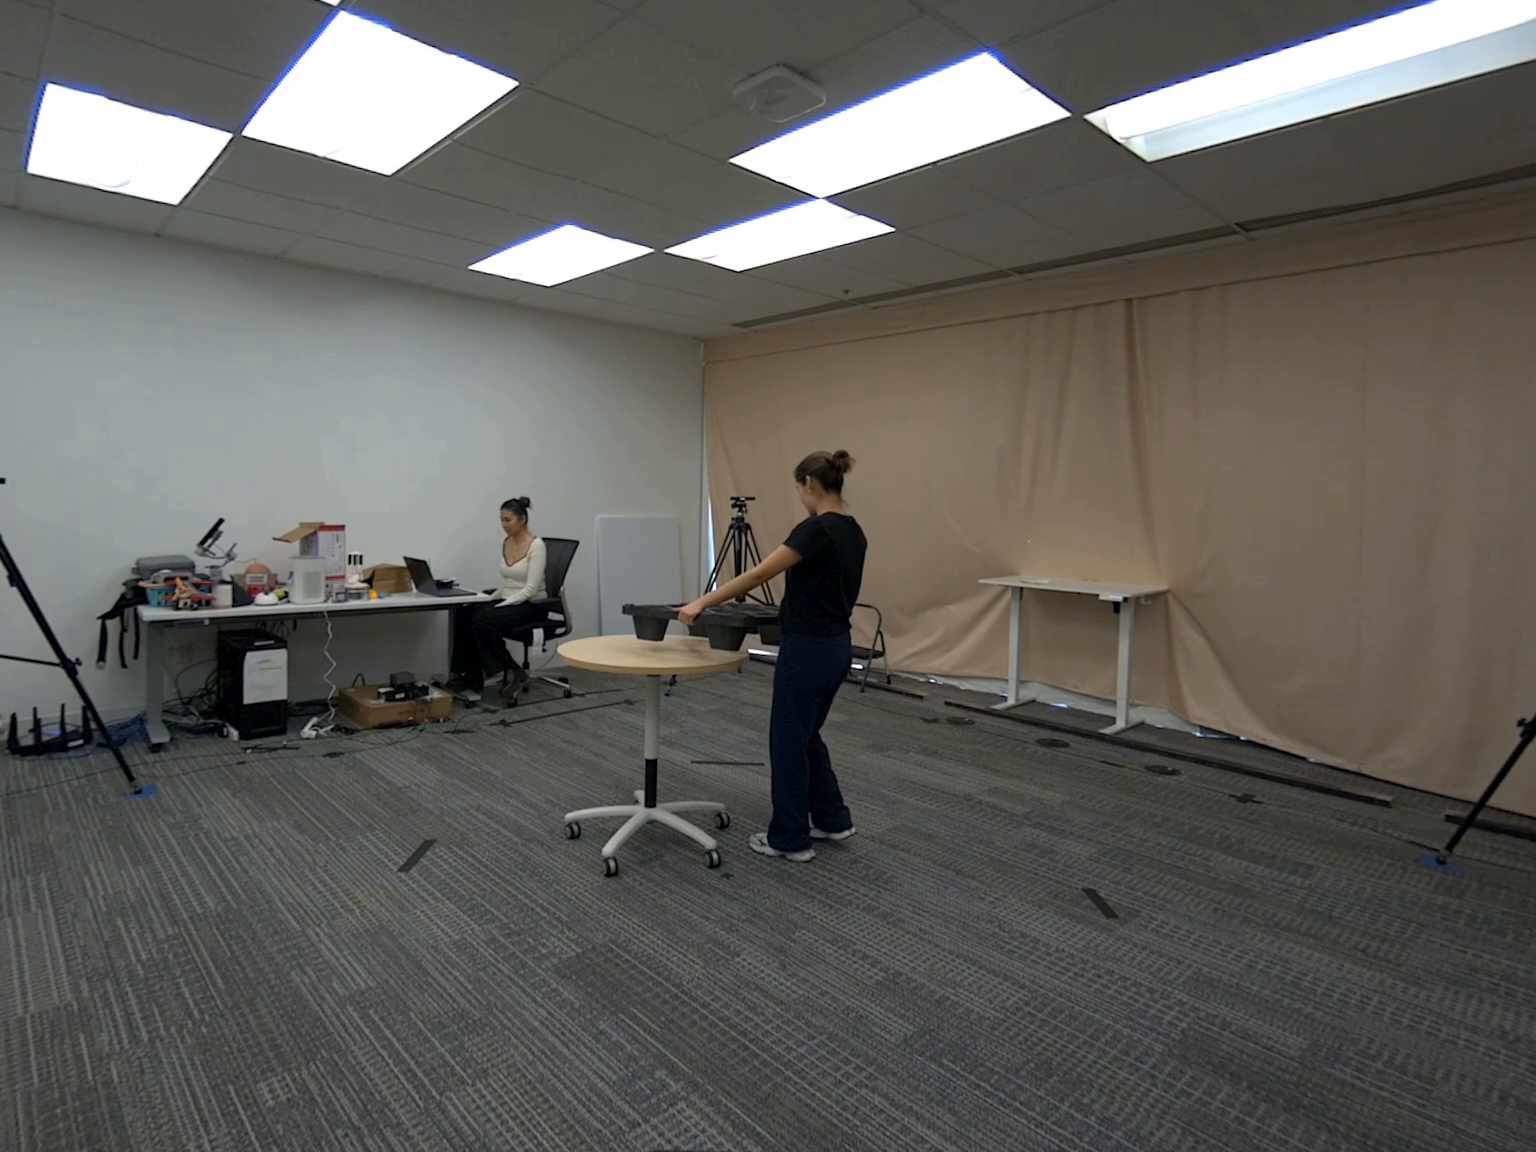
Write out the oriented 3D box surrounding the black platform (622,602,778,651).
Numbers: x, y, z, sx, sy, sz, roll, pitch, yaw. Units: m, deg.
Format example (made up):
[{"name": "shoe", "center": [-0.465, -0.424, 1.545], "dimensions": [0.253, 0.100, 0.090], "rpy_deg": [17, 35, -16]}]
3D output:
[{"name": "black platform", "center": [-0.119, 0.206, 3.491], "dimensions": [0.619, 0.143, 0.787], "rpy_deg": [4, 1, 34]}]
